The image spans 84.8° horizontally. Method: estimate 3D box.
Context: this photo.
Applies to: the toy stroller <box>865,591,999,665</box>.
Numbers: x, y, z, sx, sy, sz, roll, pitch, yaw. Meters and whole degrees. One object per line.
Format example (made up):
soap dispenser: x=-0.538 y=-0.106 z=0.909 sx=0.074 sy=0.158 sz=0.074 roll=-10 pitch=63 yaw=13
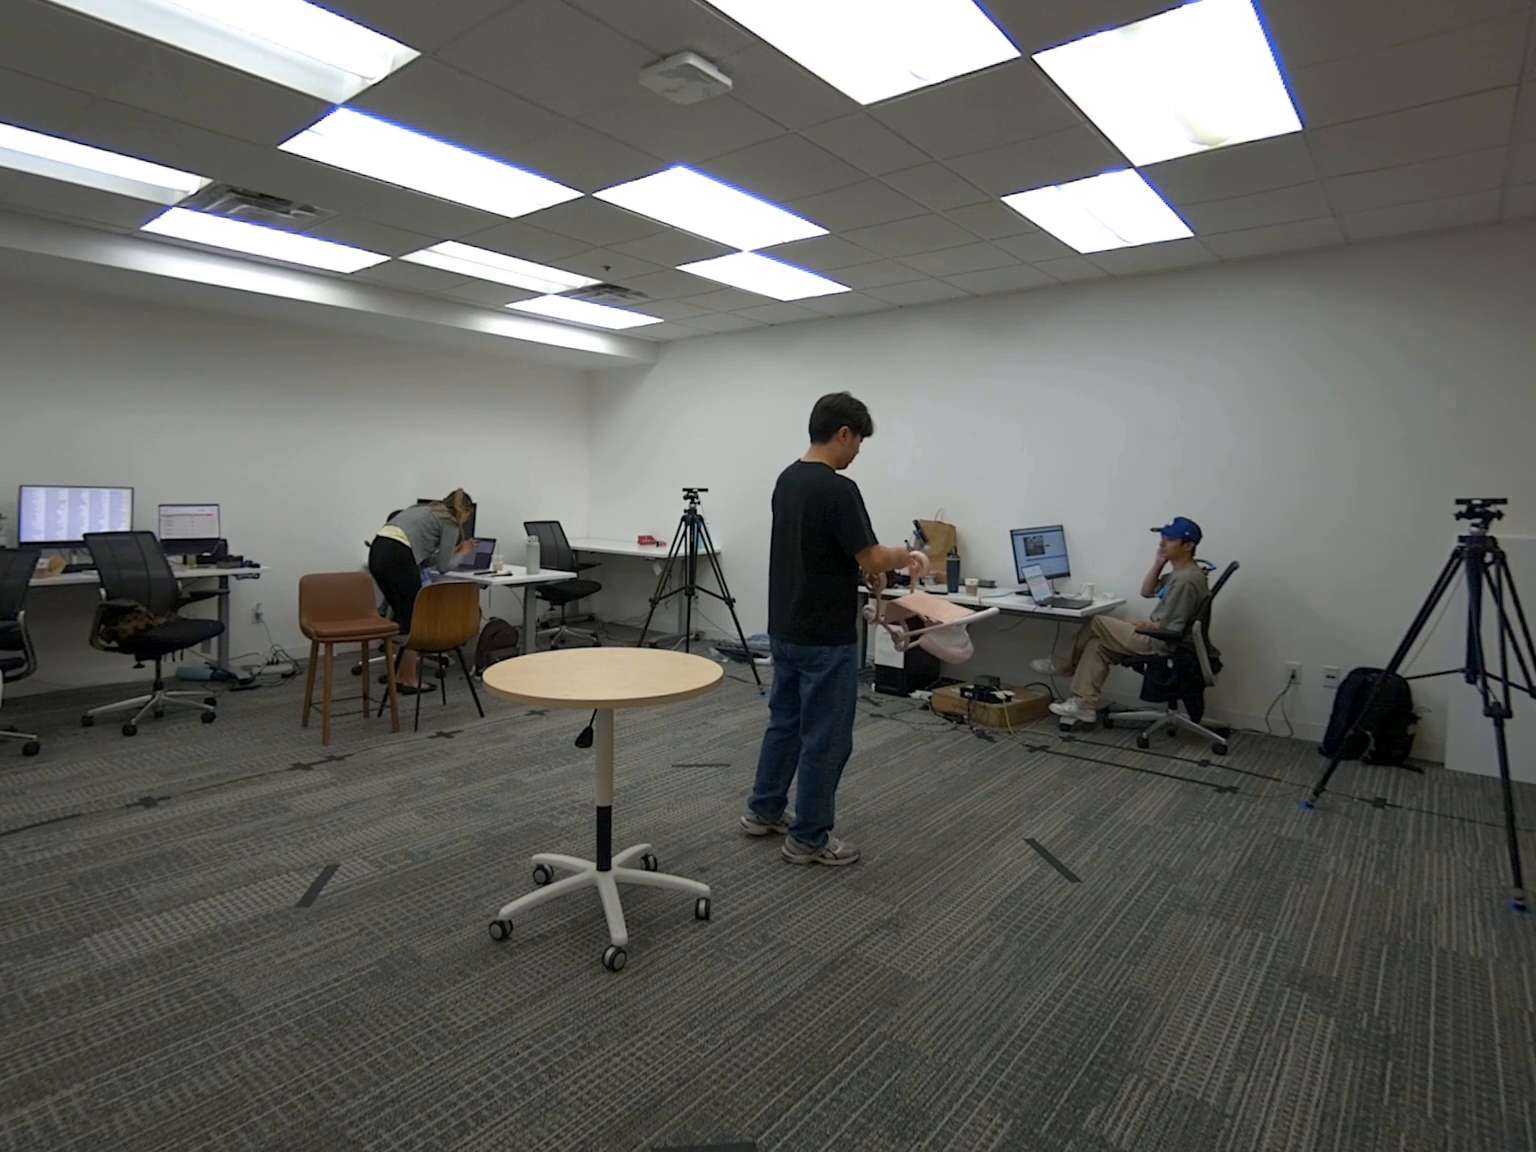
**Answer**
toy stroller: x=0.565 y=0.148 z=3.245 sx=0.274 sy=0.335 sz=0.558 roll=-12 pitch=37 yaw=-39
